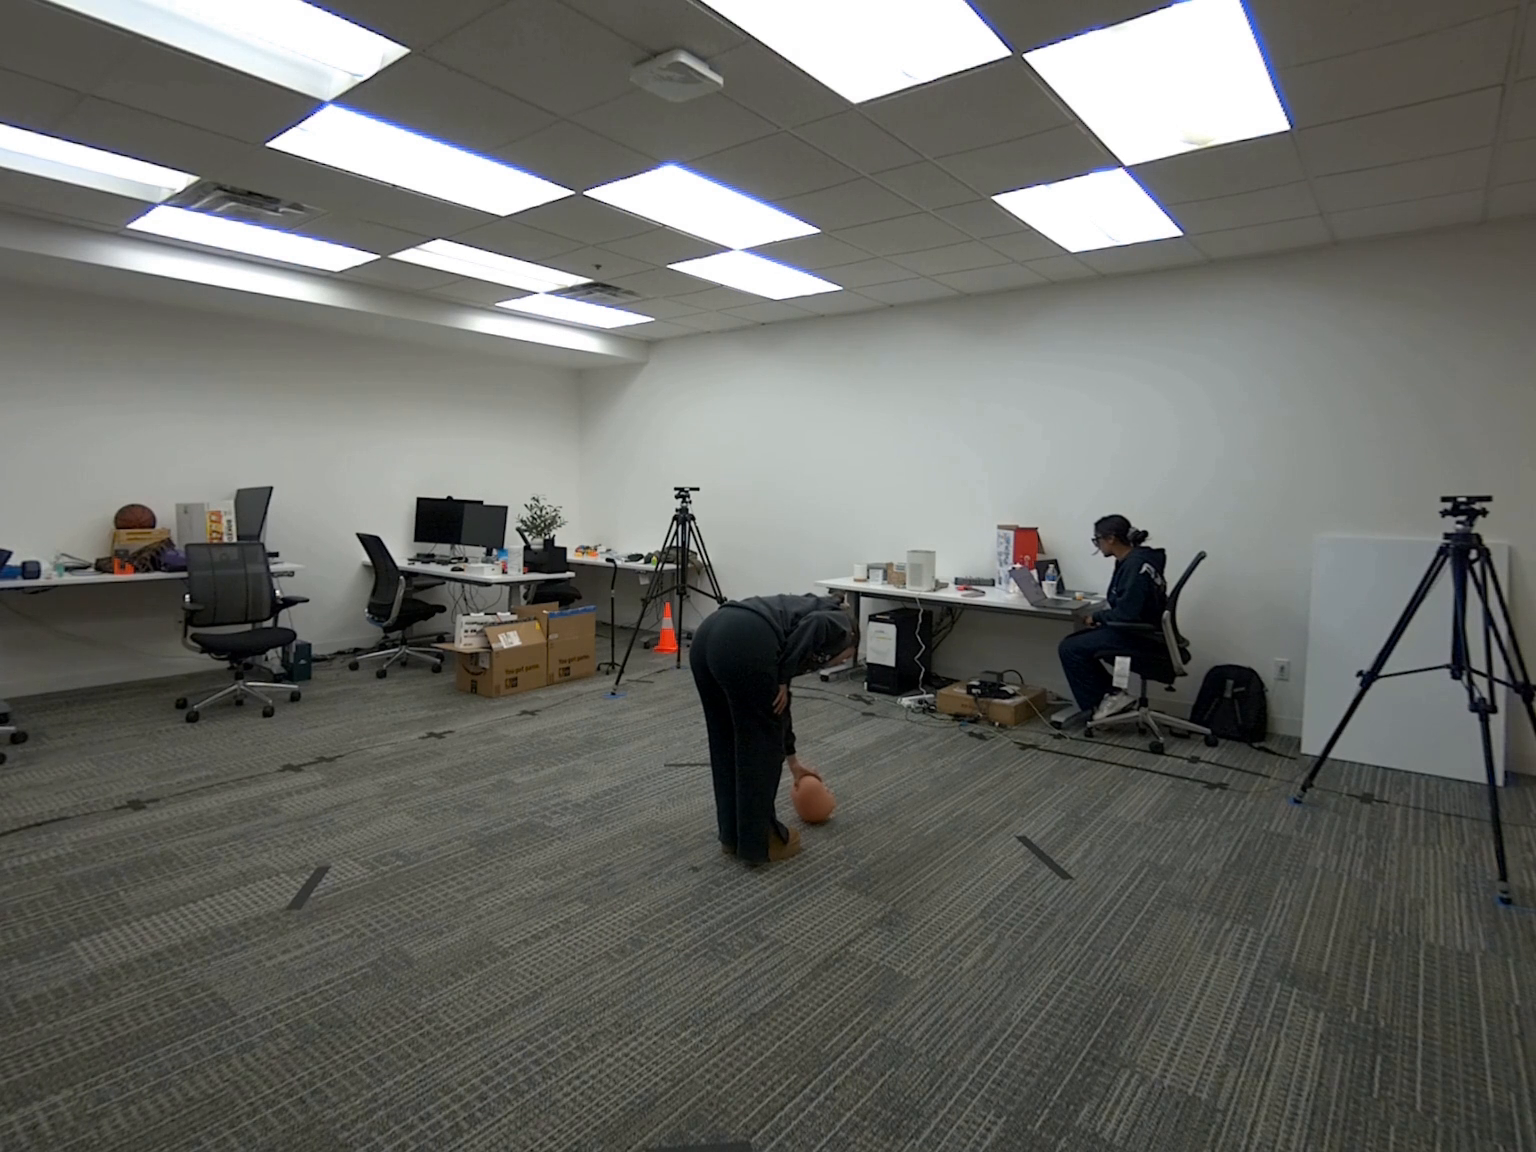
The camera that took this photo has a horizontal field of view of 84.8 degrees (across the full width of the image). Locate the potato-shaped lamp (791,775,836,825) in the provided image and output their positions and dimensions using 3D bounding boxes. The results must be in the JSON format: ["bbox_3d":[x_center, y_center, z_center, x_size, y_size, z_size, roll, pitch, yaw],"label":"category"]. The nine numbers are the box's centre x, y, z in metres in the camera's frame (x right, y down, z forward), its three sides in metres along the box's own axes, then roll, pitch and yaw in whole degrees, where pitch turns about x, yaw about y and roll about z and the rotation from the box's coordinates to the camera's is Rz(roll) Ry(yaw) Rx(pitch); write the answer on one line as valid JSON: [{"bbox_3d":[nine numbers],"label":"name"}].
[{"bbox_3d":[0.184,0.923,3.585,0.170,0.194,0.169,1,25,45],"label":"potato-shaped lamp"}]
